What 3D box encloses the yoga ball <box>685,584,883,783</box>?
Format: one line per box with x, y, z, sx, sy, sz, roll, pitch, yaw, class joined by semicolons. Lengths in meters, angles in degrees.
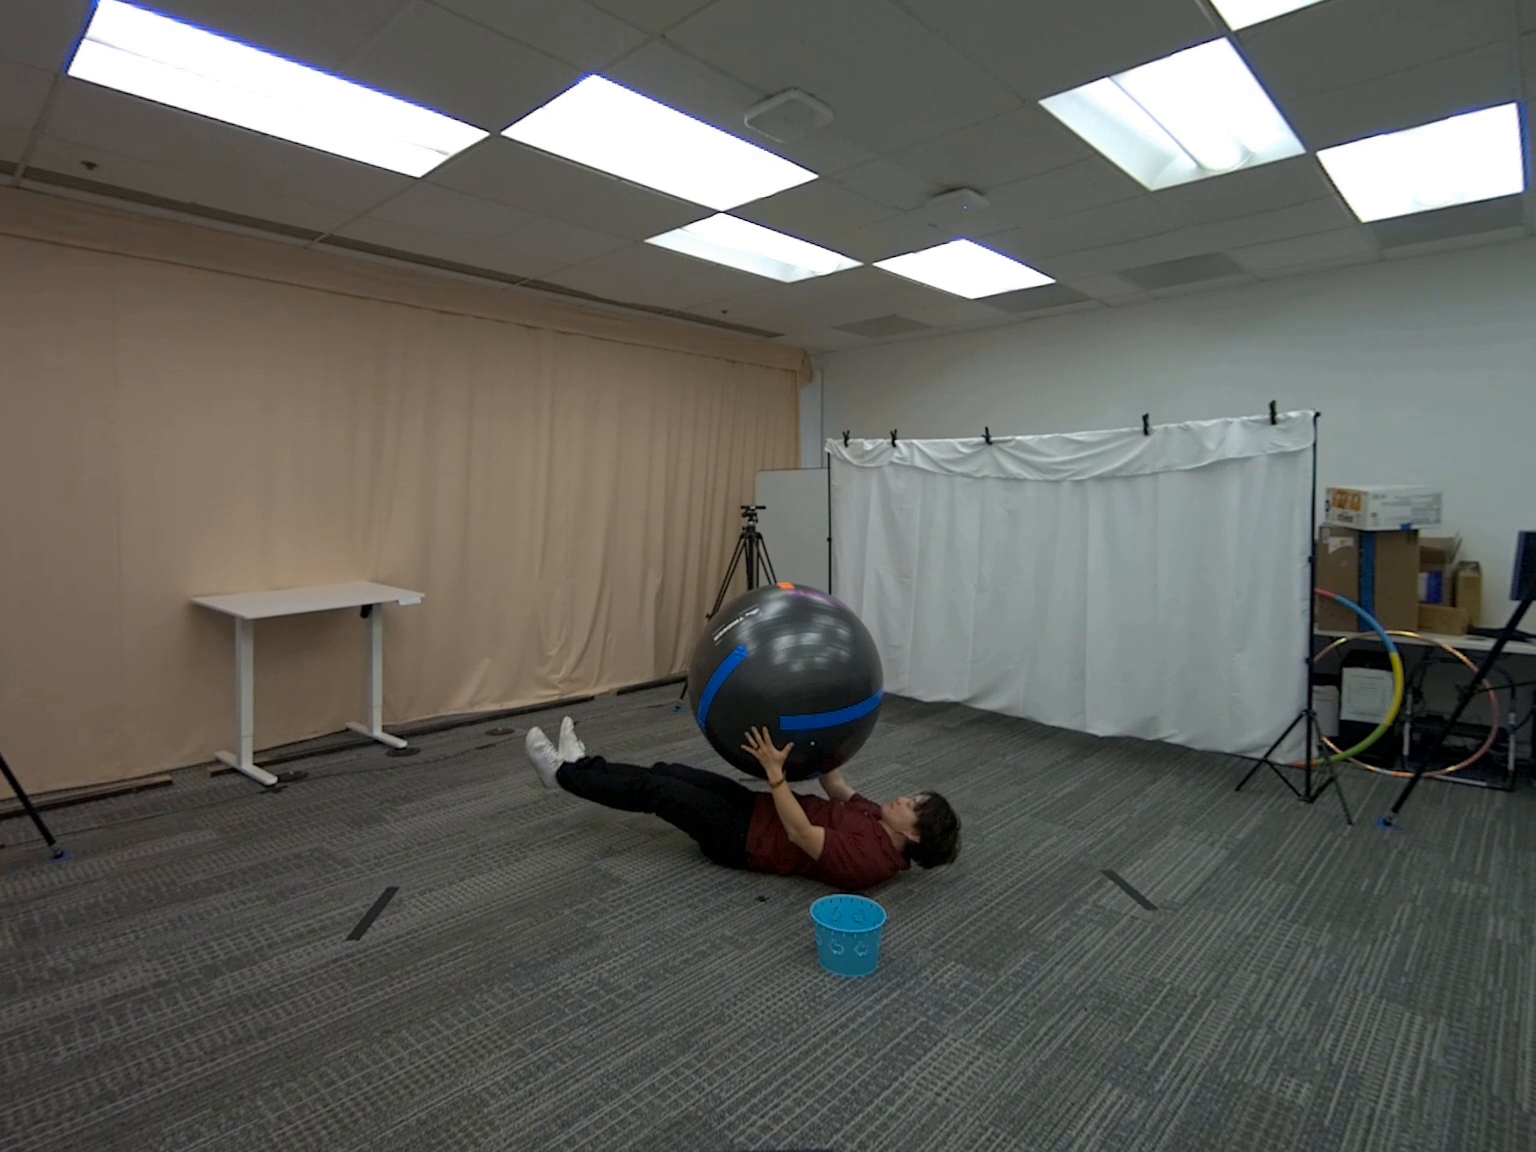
0.066;0.412;3.288;0.757;0.756;0.760;0;4;-2;yoga ball
